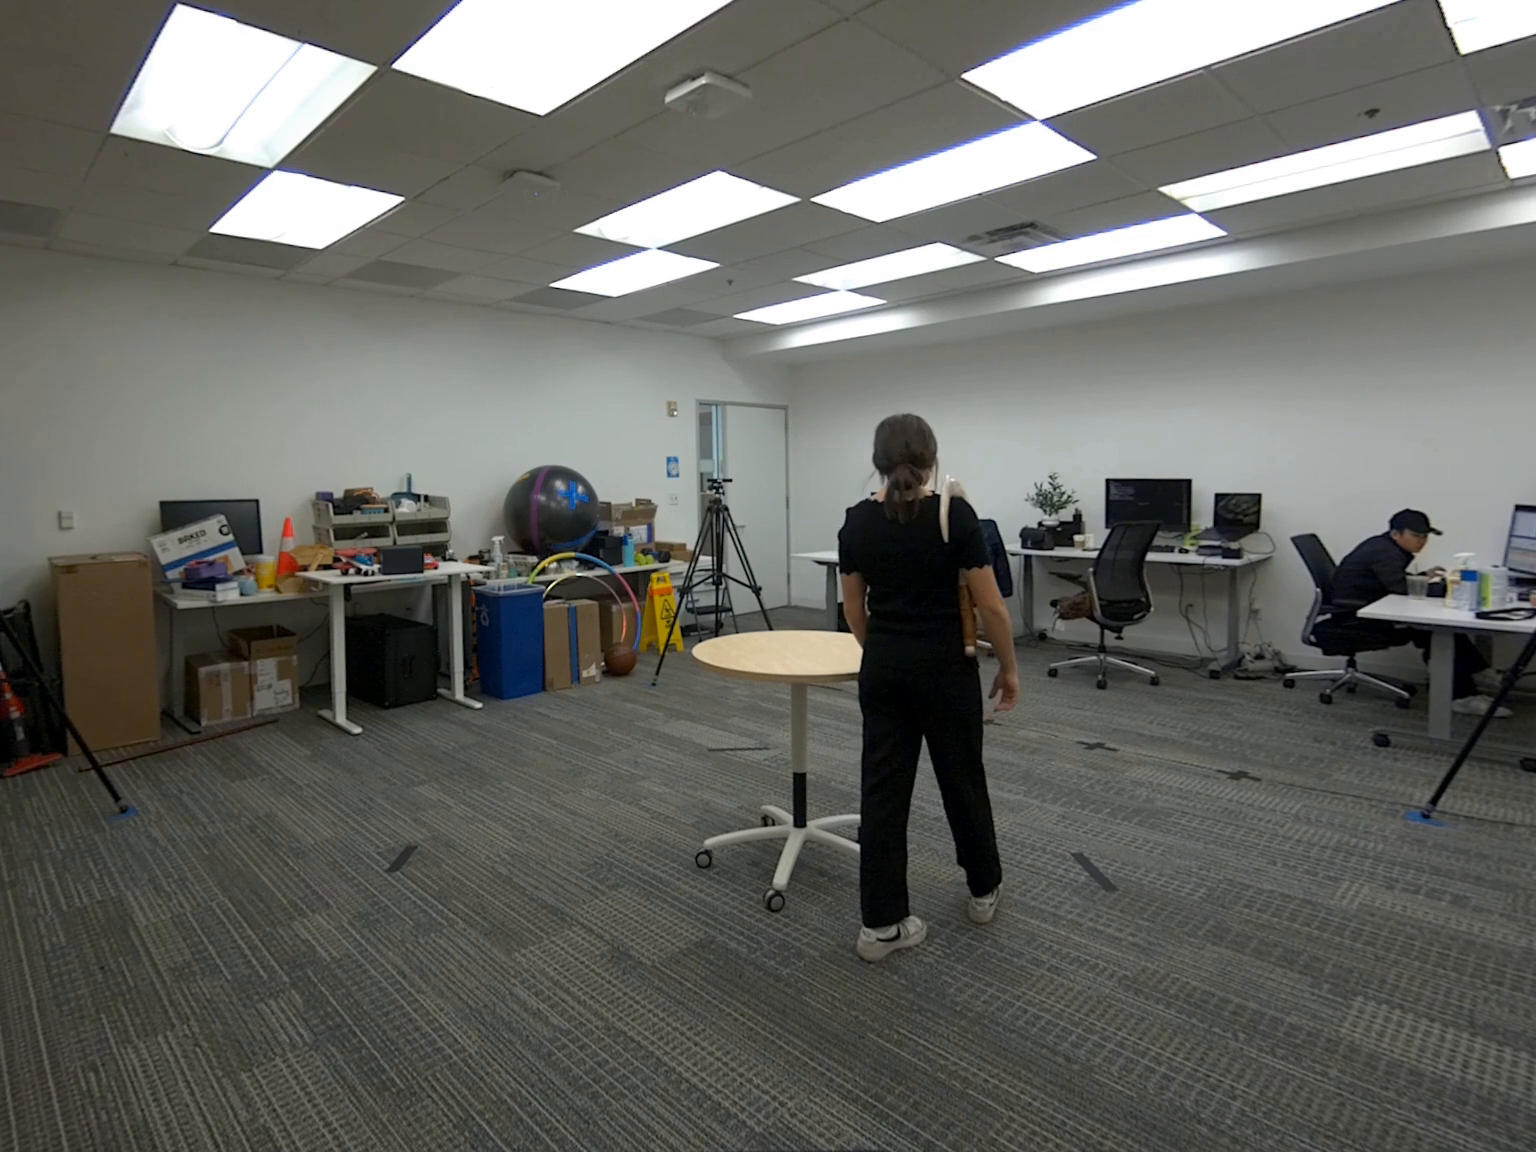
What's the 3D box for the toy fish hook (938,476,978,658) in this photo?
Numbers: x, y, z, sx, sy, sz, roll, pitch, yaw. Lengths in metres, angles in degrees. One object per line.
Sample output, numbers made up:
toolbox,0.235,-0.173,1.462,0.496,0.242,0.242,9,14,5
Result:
toy fish hook,0.527,-0.031,2.408,0.049,0.511,0.217,-10,-10,37
